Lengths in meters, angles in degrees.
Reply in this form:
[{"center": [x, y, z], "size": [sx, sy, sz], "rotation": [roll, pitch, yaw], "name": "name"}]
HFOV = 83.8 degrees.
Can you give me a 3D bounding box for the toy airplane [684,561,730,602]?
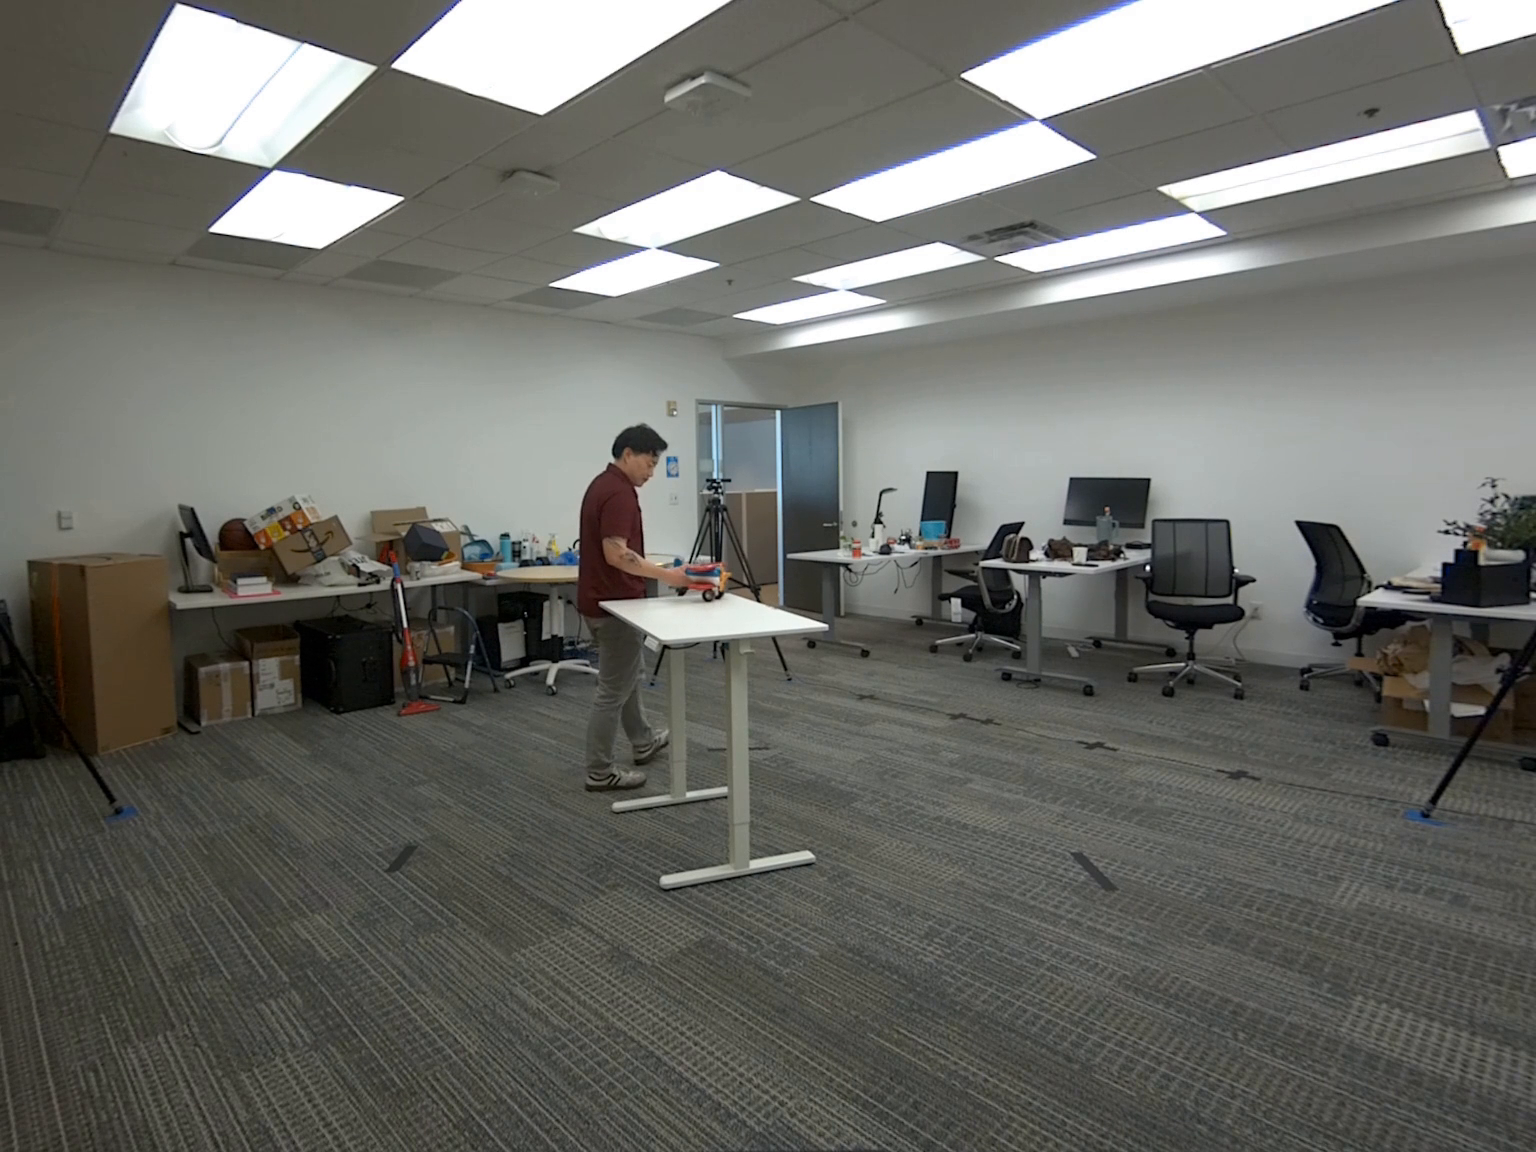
[{"center": [-0.305, 0.009, 3.678], "size": [0.258, 0.155, 0.254], "rotation": [13, 11, -5], "name": "toy airplane"}]
